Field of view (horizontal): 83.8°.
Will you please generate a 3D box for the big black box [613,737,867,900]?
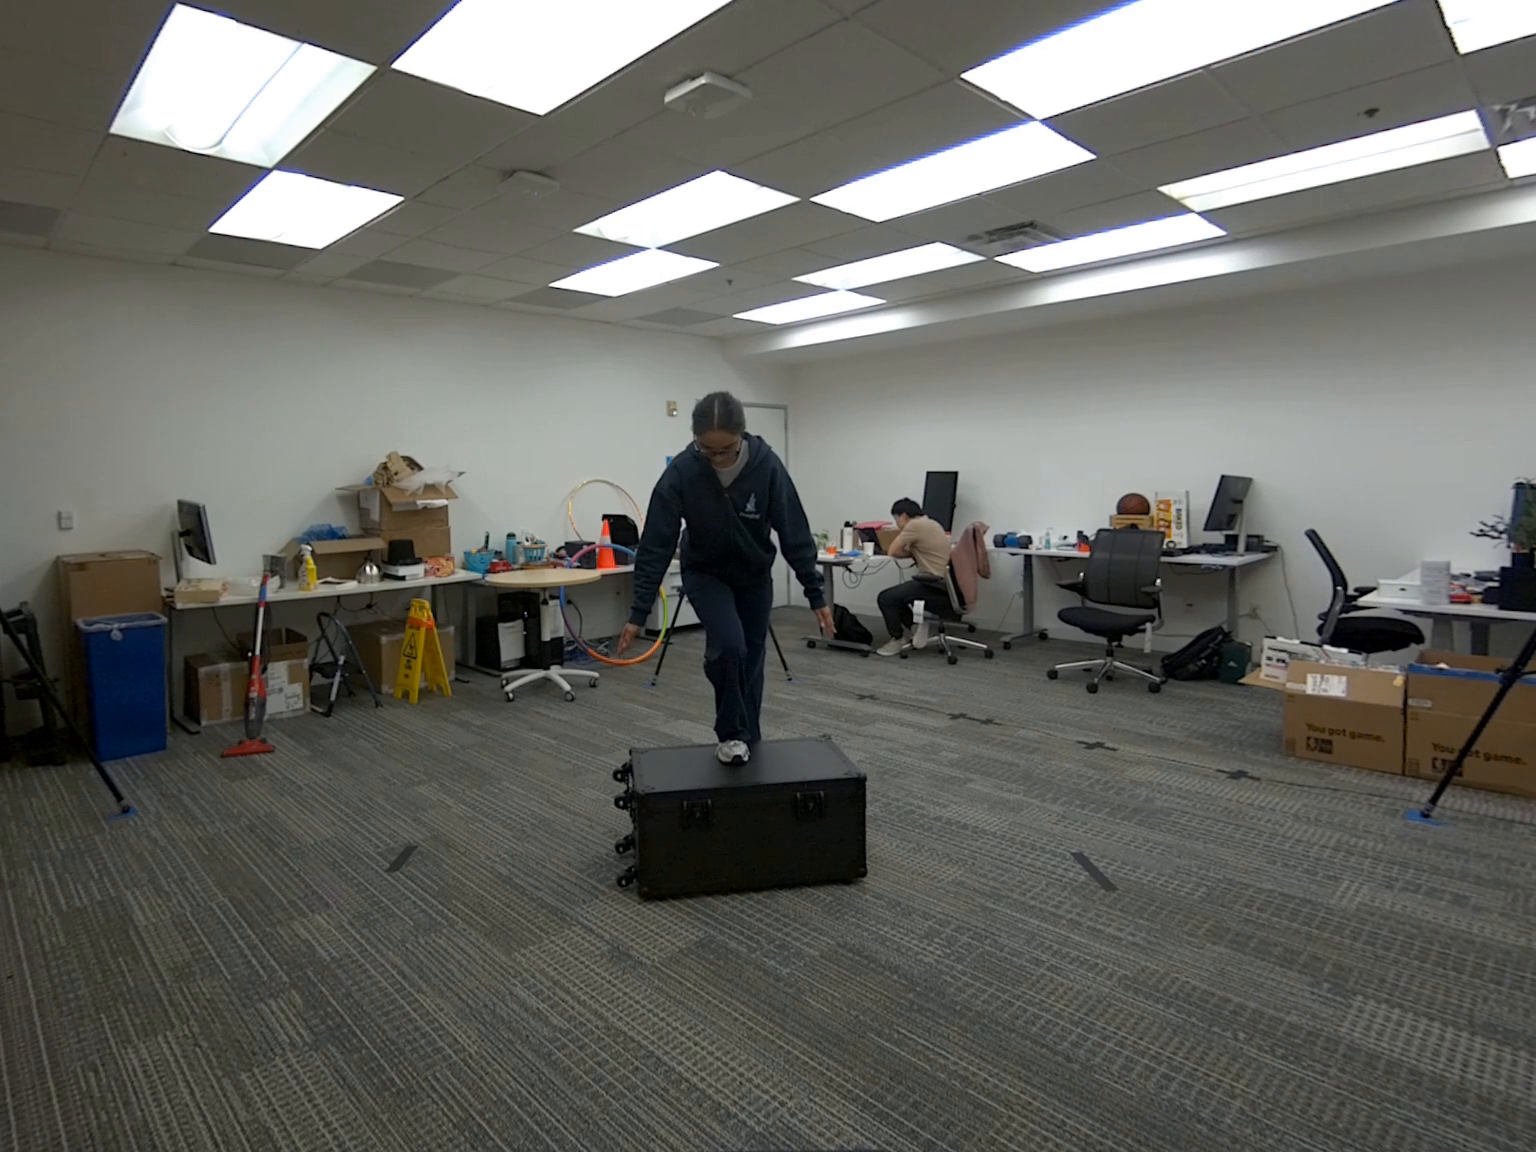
[{"bbox_3d":[-0.125,0.857,3.093,0.854,0.395,0.528,-2,5,-10],"label":"big black box"}]
